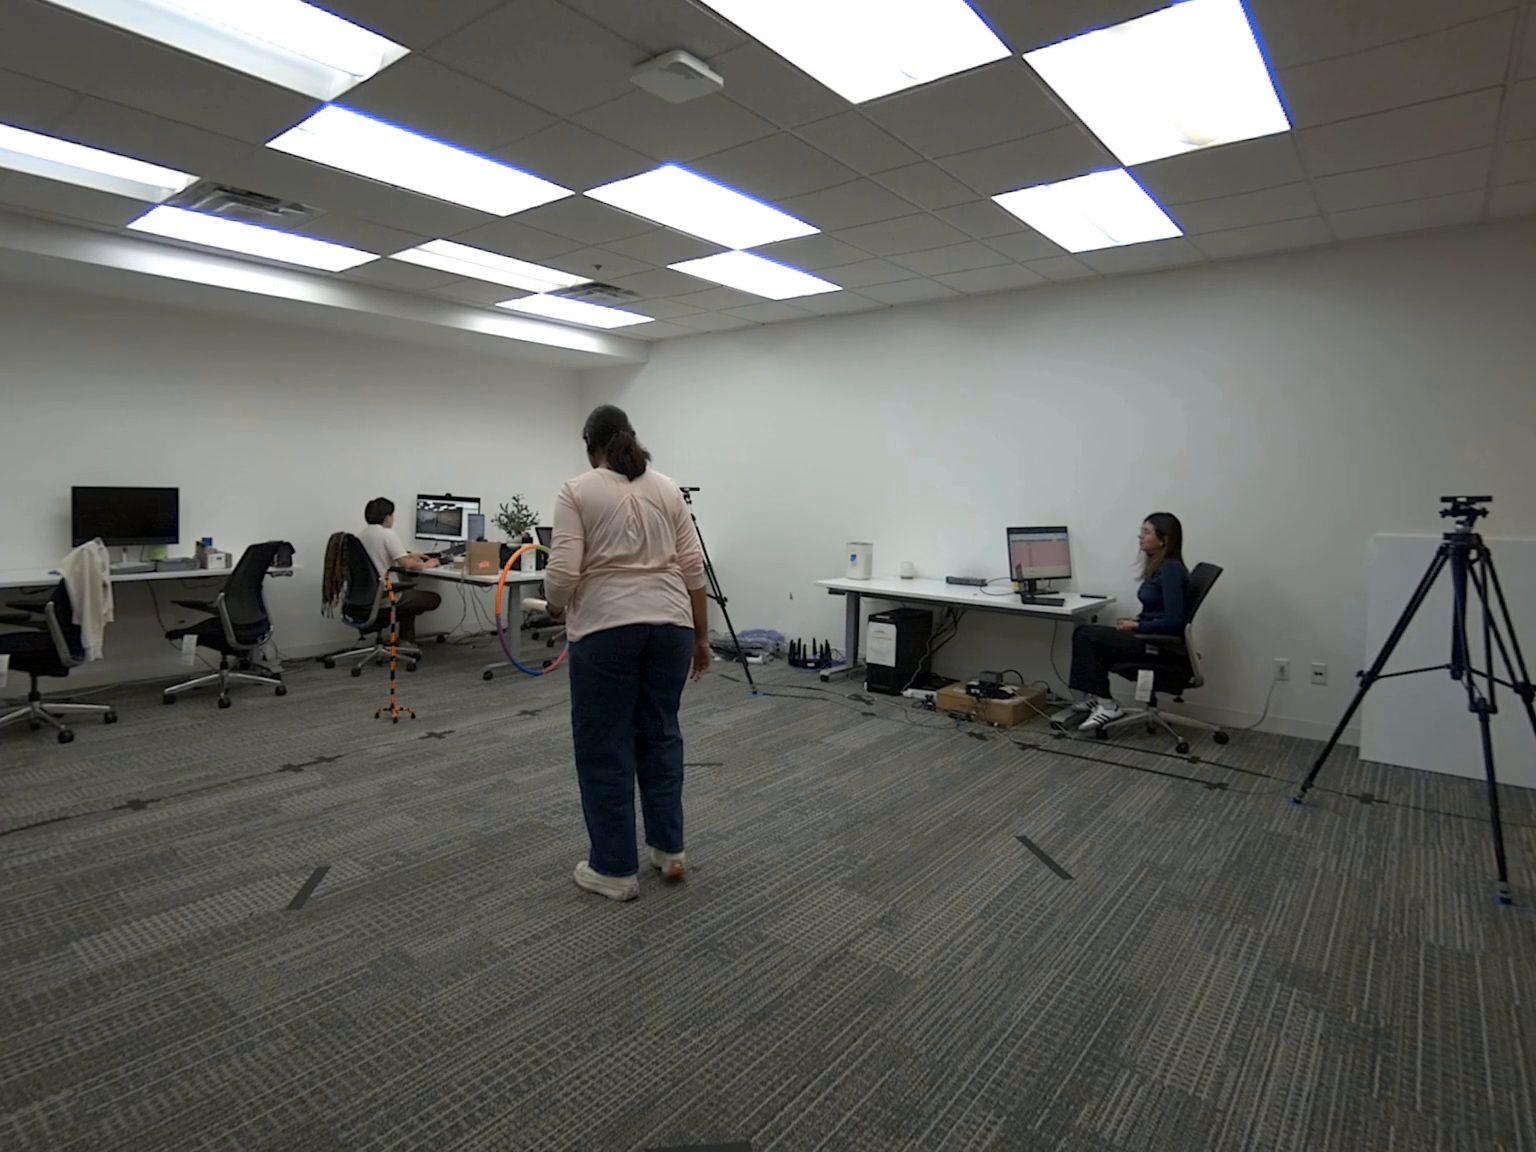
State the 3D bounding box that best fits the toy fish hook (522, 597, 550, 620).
[{"bbox_3d":[-0.799,0.120,3.213,0.219,0.048,0.519,2,2,-26],"label":"toy fish hook"}]
